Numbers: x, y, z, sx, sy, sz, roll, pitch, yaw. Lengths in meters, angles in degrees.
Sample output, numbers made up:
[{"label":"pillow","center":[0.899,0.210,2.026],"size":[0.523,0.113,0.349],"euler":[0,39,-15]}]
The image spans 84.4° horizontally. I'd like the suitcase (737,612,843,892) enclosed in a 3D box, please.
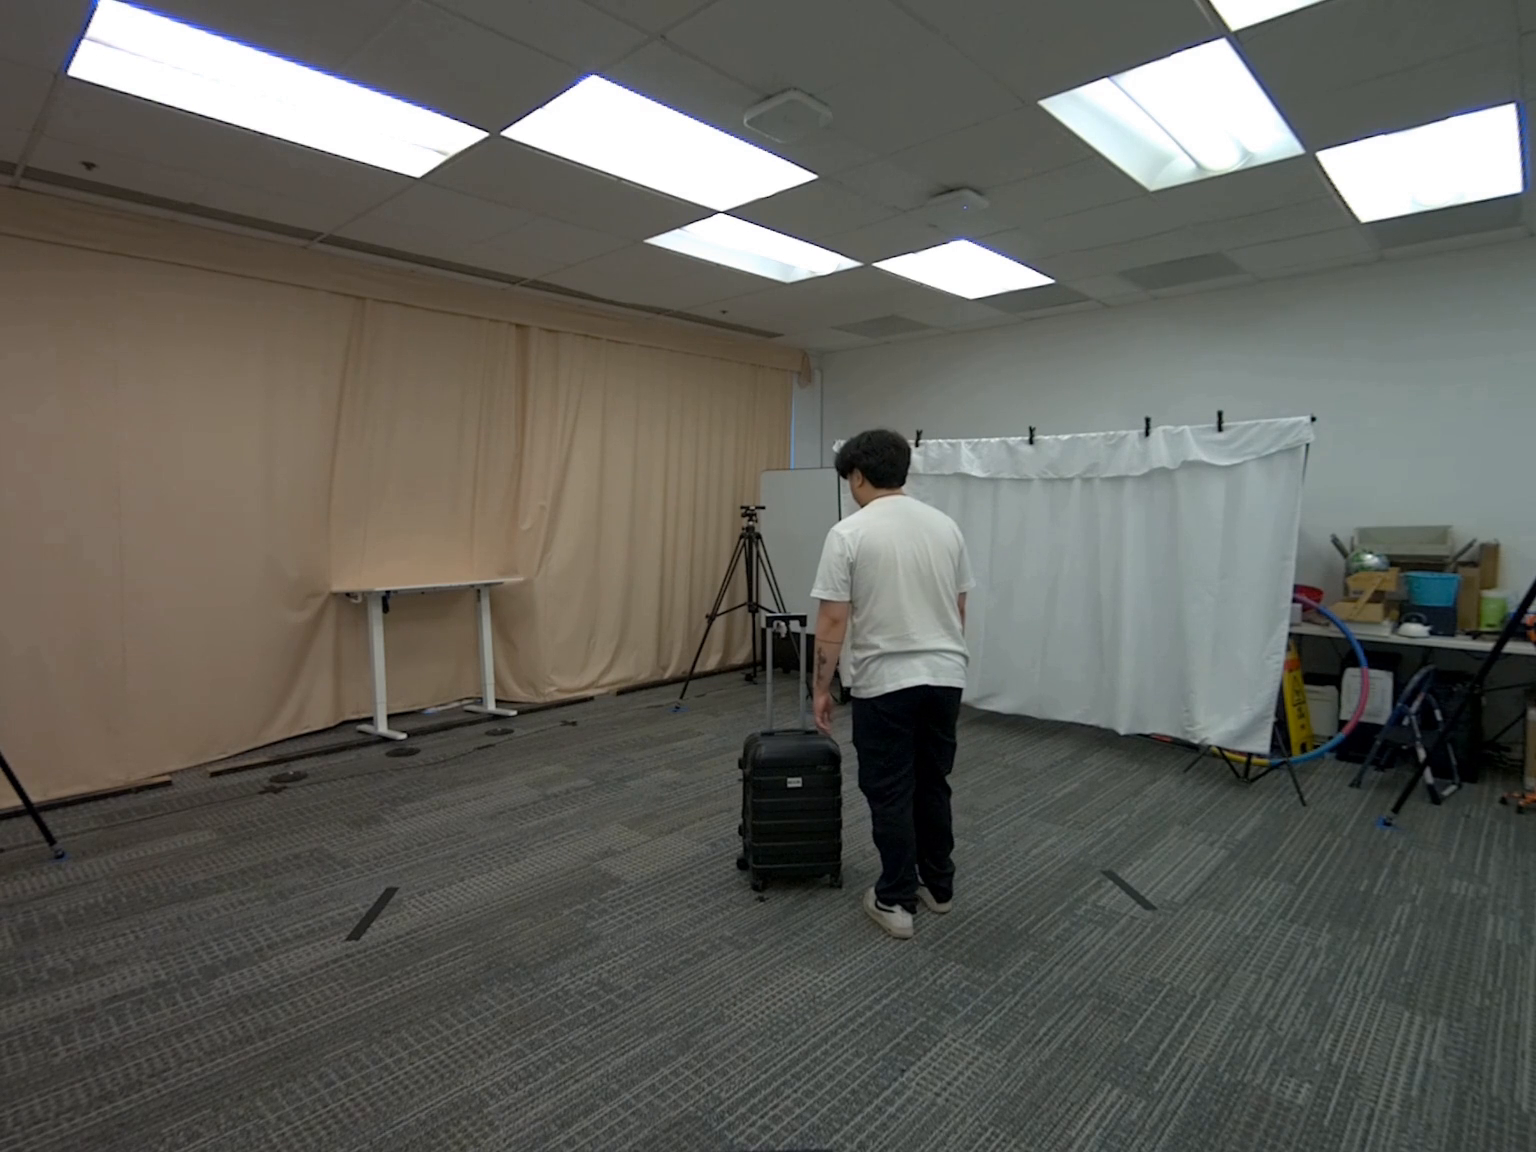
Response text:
[{"label":"suitcase","center":[0.090,0.657,3.112],"size":[0.381,0.975,0.260],"euler":[-1,6,-7]}]
